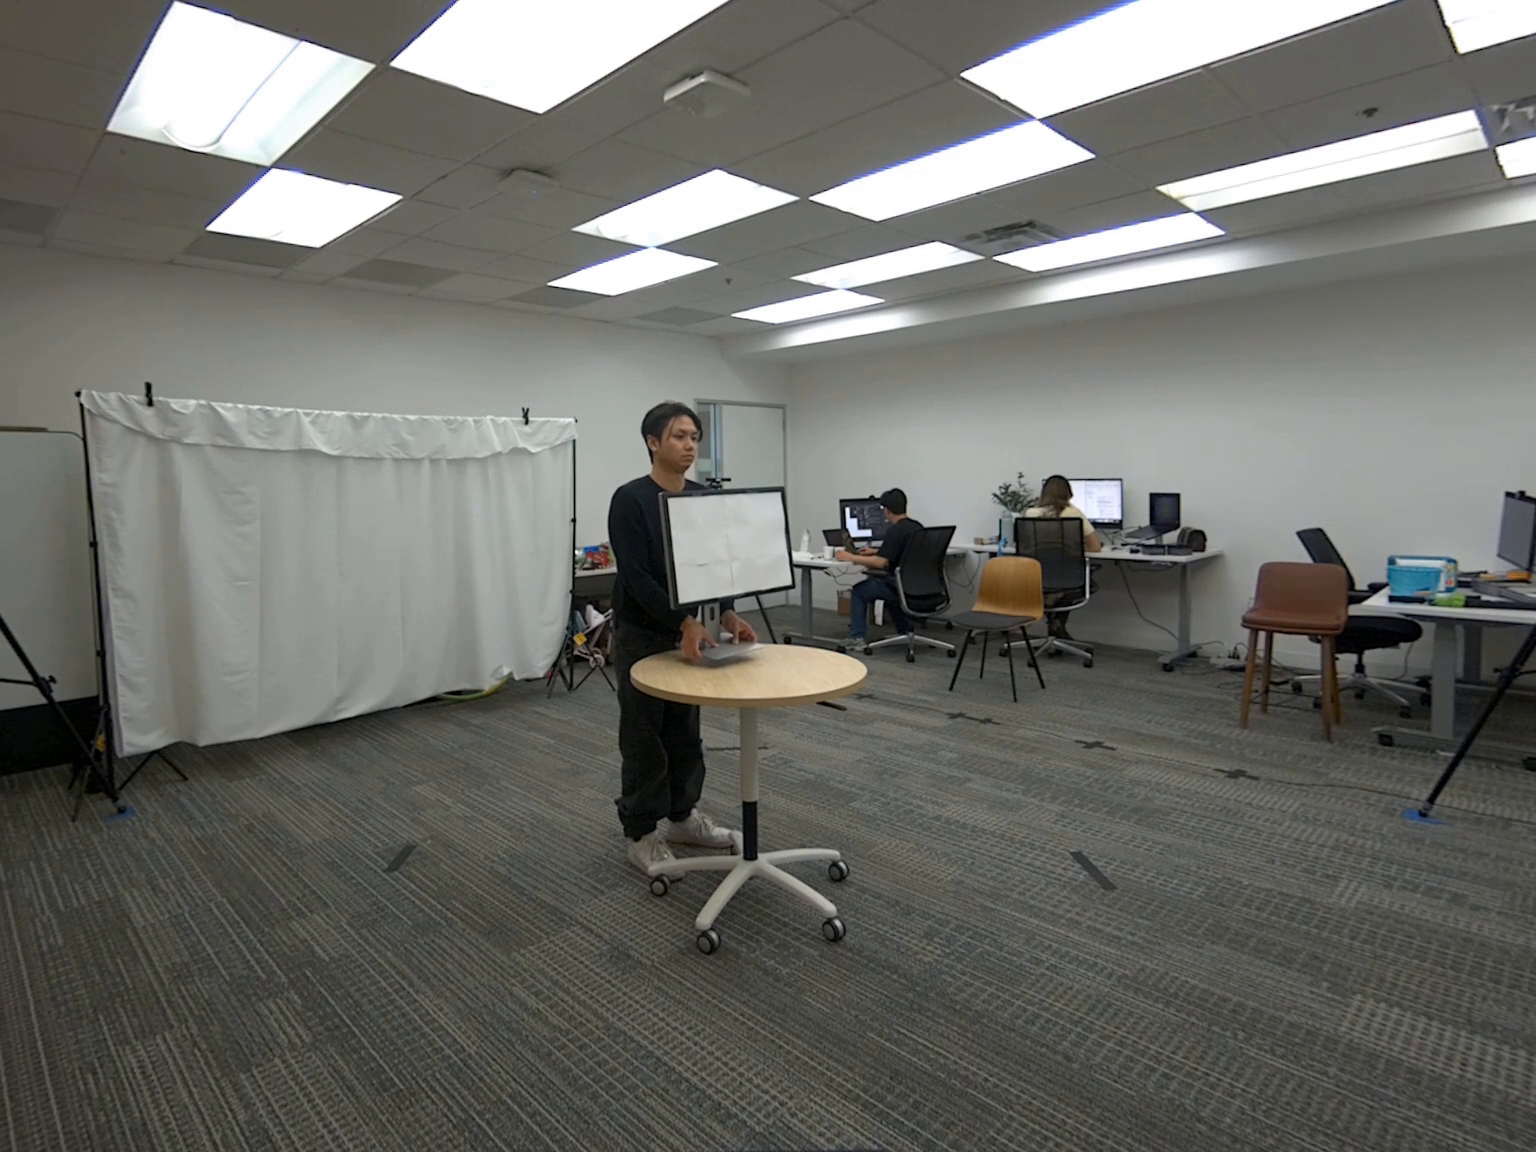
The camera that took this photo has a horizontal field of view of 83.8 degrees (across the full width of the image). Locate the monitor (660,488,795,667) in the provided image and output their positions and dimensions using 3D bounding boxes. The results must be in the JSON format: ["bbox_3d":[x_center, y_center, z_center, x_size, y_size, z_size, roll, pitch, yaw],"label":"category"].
[{"bbox_3d":[-0.155,-0.017,2.860,0.193,0.518,0.525,11,13,41],"label":"monitor"}]
